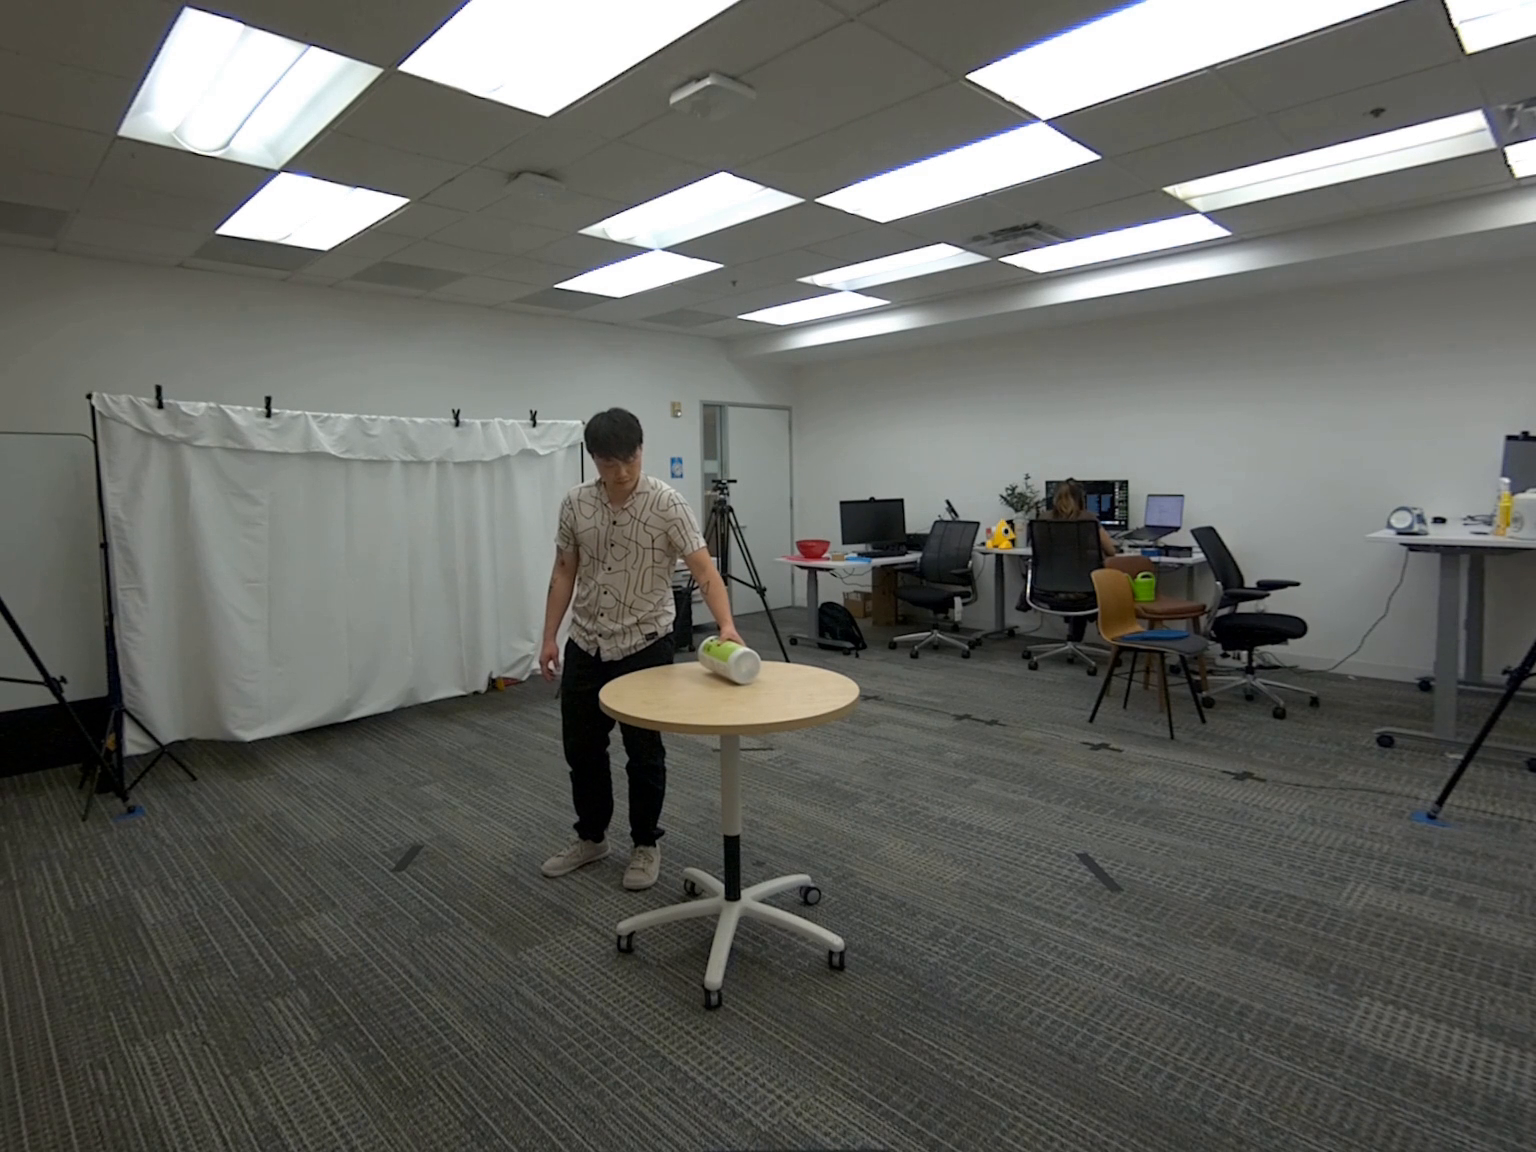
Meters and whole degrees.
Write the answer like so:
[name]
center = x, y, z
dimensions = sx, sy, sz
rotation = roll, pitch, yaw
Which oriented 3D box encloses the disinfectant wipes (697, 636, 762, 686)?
[disinfectant wipes]
center = -0.122, 0.259, 2.647
dimensions = 0.115, 0.117, 0.224
rotation = -4, 7, -31
